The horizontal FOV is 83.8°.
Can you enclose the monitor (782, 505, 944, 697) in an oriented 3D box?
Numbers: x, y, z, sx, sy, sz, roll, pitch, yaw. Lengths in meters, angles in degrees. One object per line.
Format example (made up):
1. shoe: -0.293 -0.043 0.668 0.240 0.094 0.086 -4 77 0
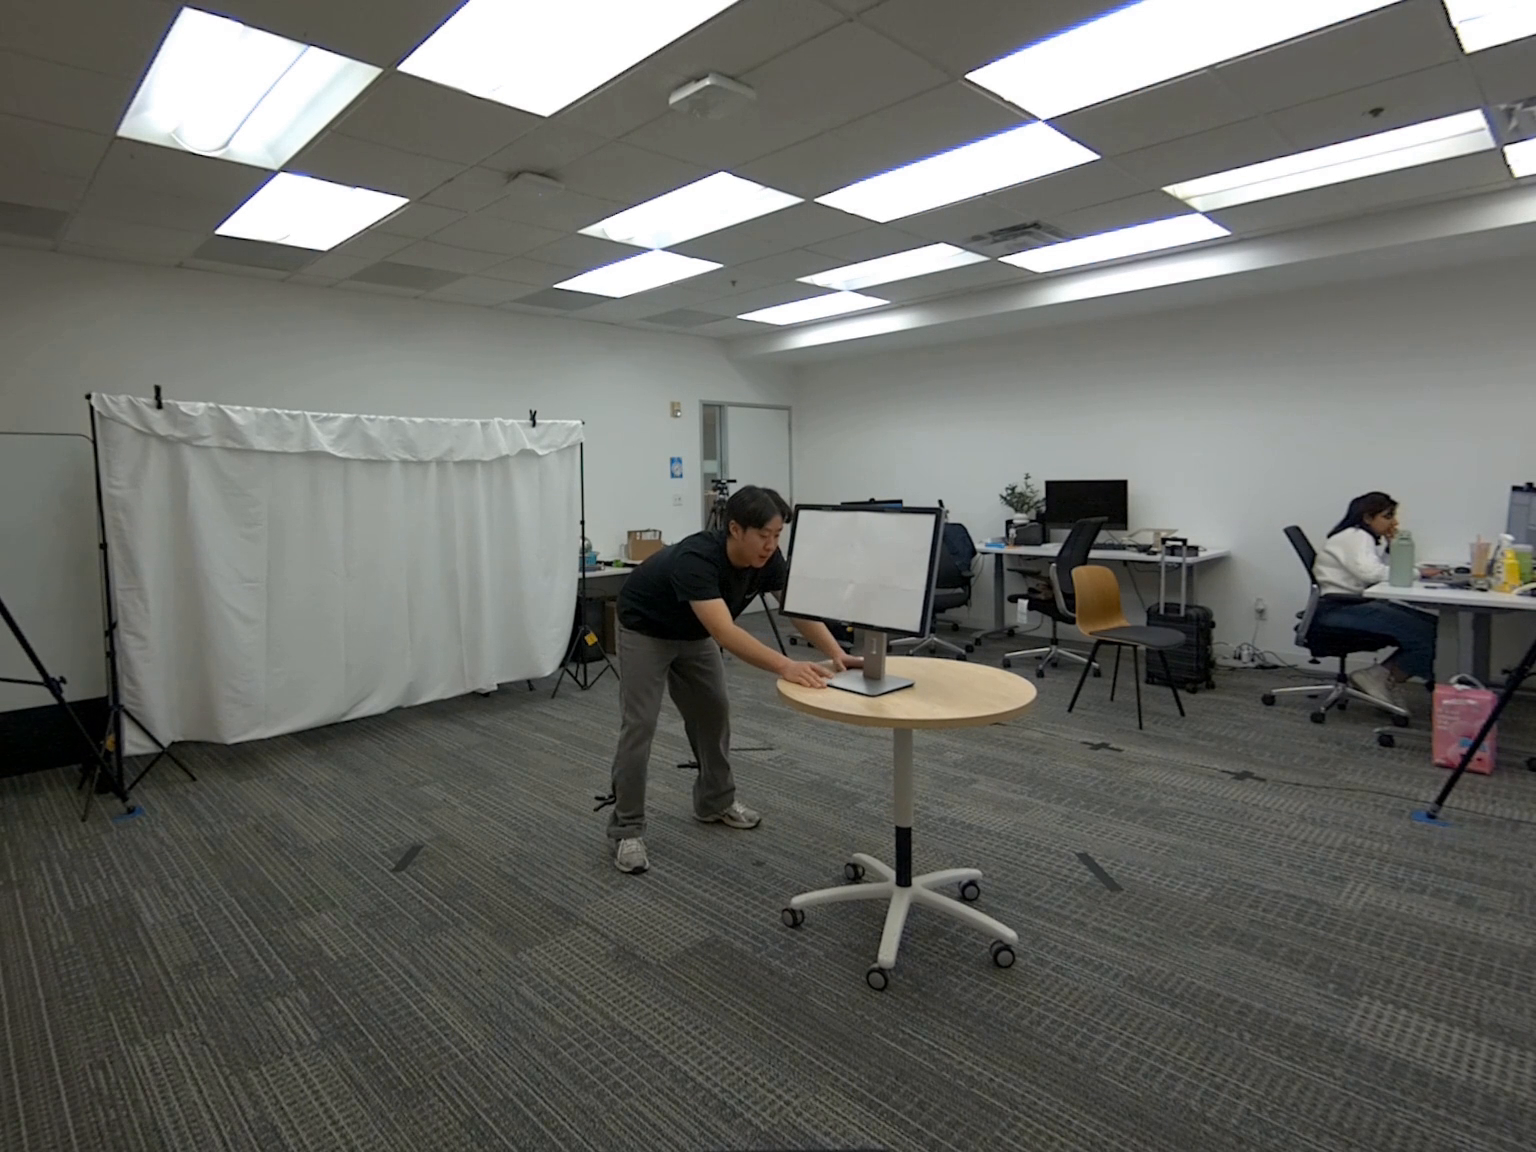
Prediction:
1. monitor: 0.313 0.062 2.582 0.204 0.554 0.583 4 0 -43
